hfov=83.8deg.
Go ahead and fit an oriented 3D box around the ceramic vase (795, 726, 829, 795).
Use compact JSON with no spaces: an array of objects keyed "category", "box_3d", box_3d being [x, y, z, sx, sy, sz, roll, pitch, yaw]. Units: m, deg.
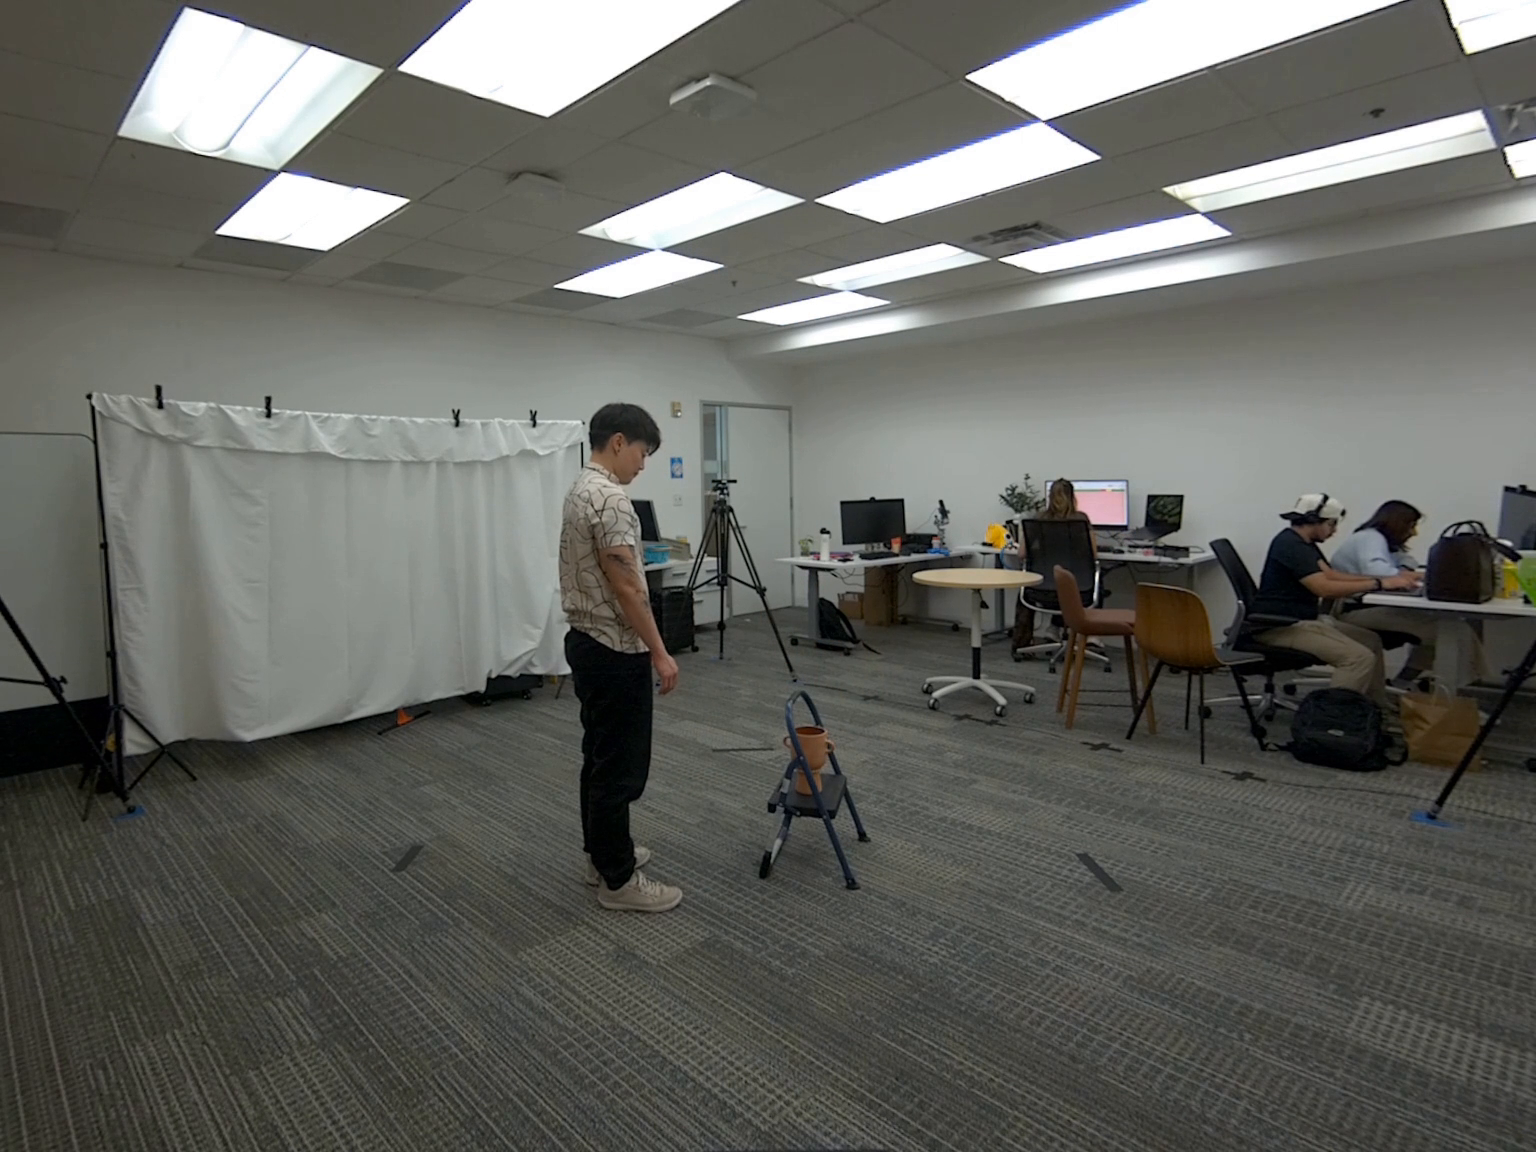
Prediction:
[{"category":"ceramic vase","box_3d":[0.147,0.666,3.104,0.131,0.219,0.163,-4,7,-28]}]
